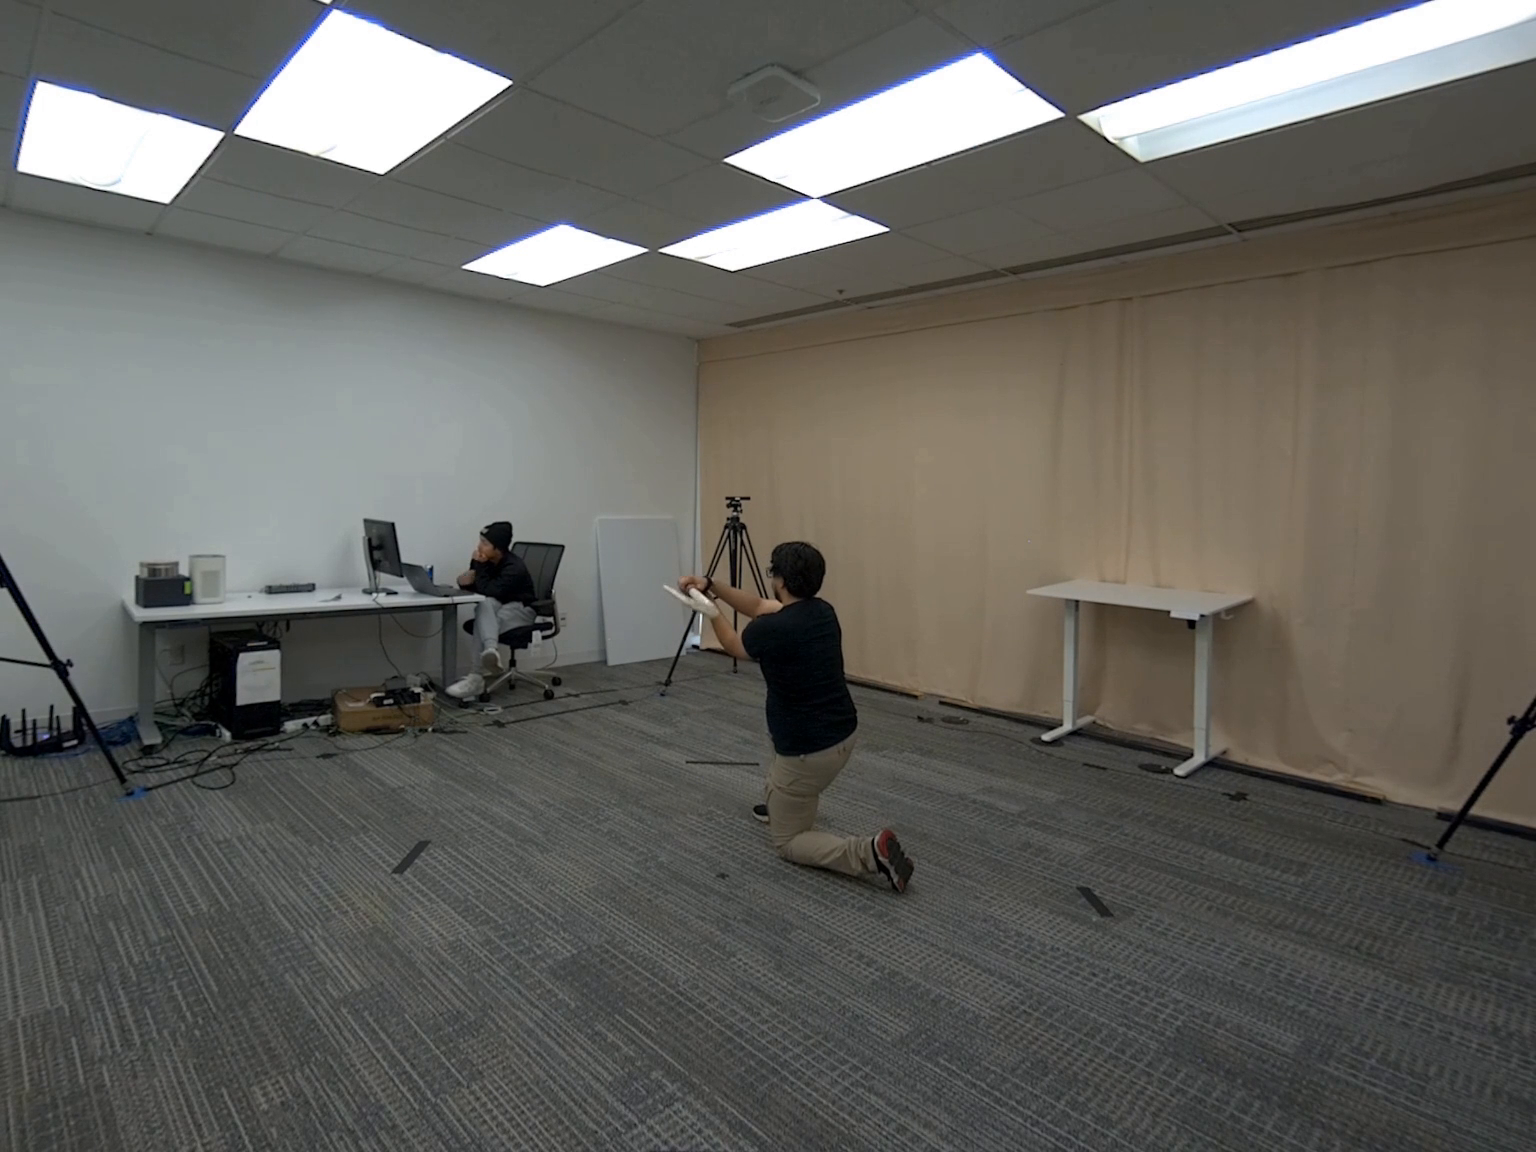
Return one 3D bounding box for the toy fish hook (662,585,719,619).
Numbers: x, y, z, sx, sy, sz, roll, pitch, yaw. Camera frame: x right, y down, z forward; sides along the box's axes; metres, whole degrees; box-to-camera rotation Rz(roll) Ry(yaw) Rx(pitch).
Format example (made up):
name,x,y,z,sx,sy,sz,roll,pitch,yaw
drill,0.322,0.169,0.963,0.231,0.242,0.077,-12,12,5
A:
name,x,y,z,sx,sy,sz,roll,pitch,yaw
toy fish hook,-0.336,0.054,3.300,0.220,0.048,0.517,32,1,-21
